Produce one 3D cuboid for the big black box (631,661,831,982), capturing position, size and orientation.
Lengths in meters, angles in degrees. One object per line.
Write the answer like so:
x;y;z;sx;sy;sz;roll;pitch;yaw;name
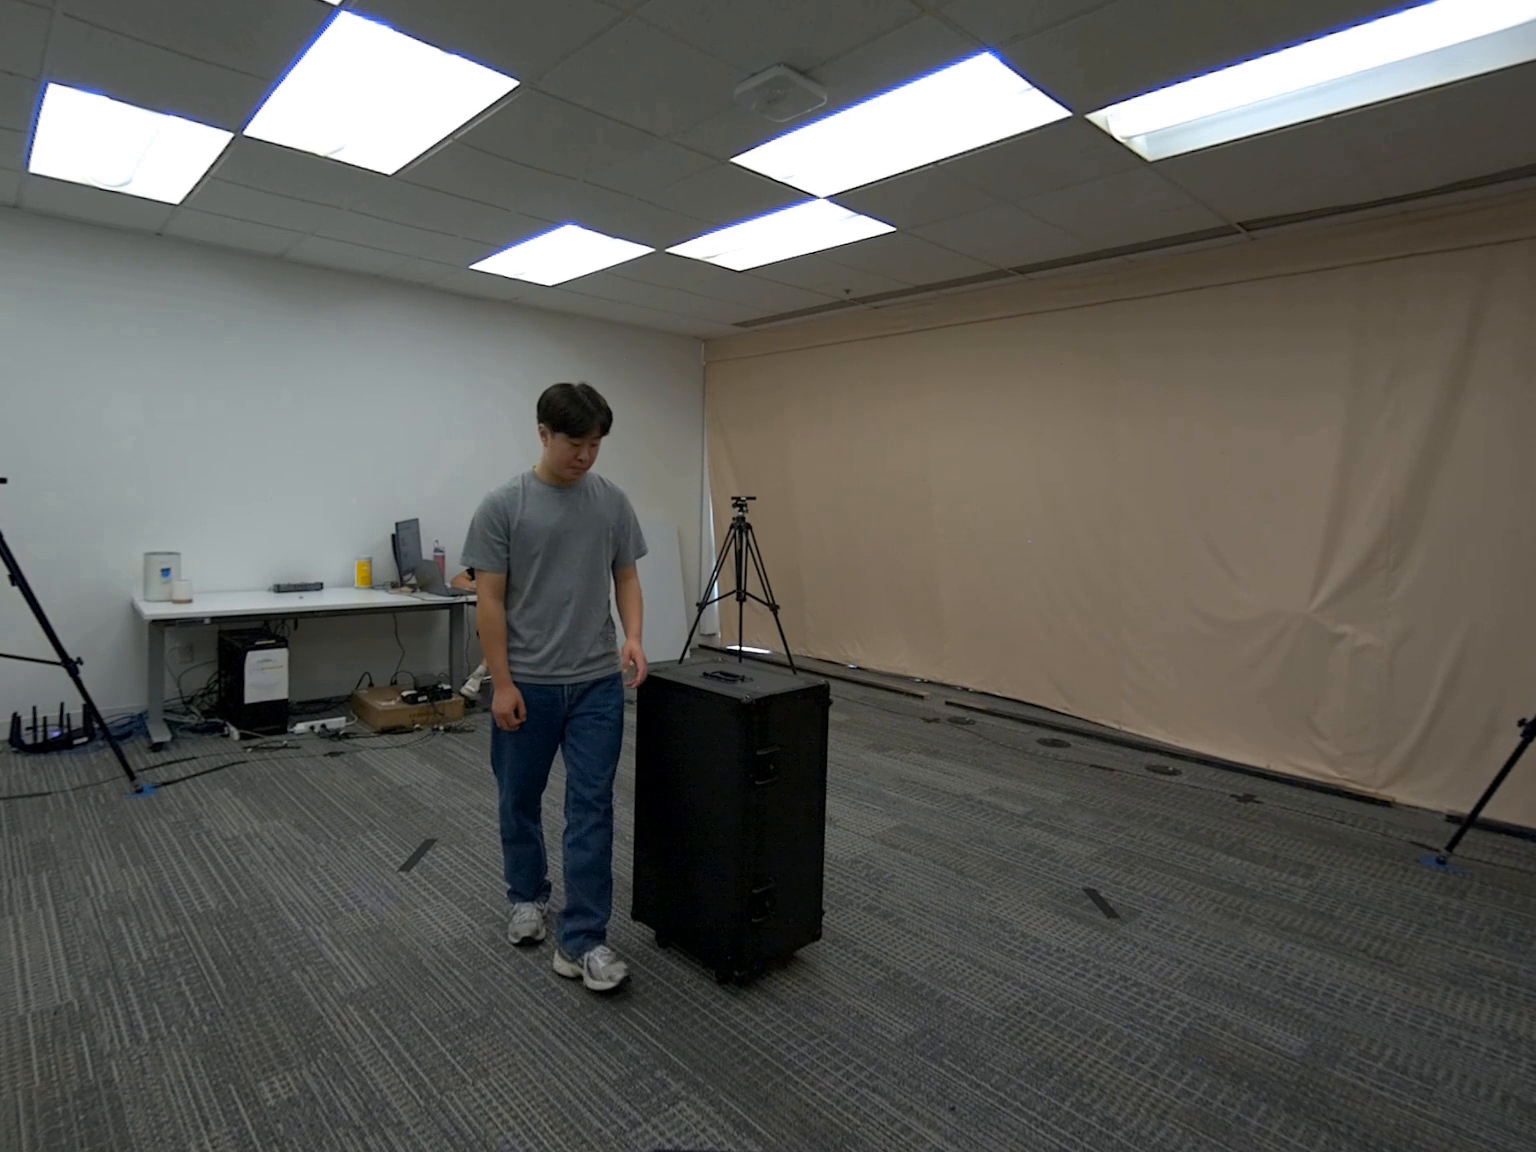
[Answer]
-0.121;0.731;2.576;0.534;0.860;0.387;5;4;43;big black box
